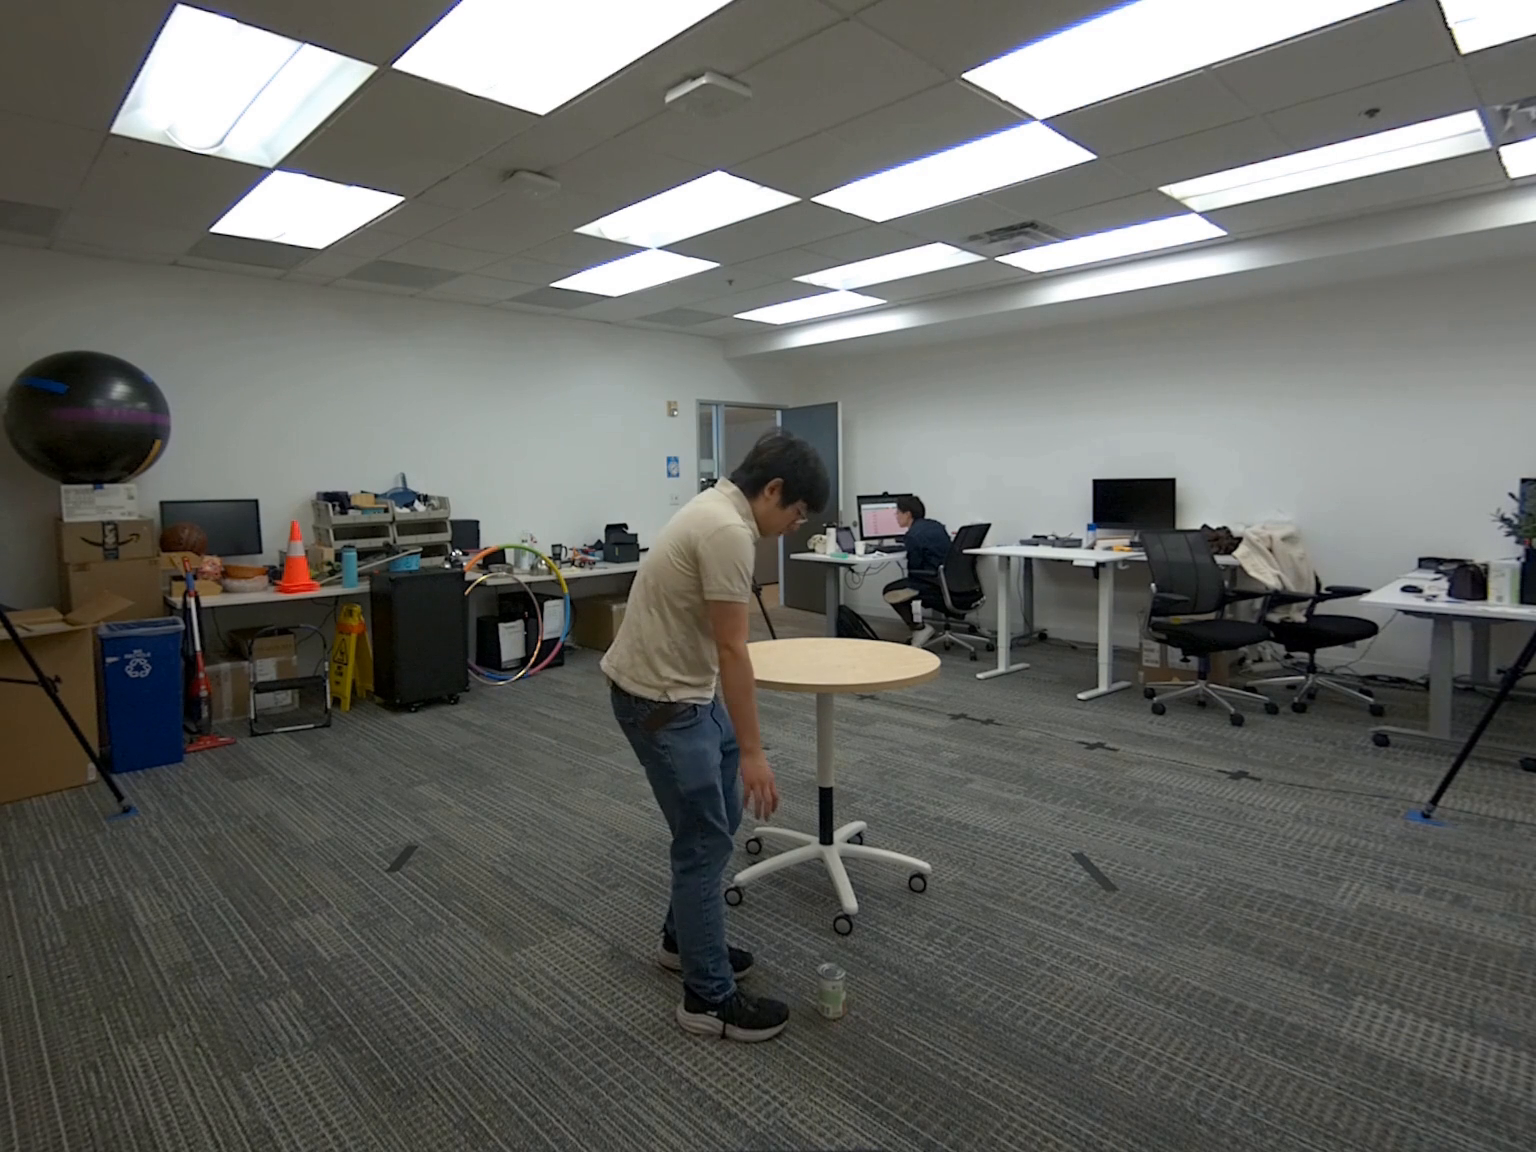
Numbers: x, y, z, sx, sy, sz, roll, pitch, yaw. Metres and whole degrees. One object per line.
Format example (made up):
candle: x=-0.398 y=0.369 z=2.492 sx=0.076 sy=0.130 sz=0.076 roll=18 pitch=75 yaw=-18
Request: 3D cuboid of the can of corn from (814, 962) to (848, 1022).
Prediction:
can of corn: x=0.170 y=1.086 z=2.230 sx=0.074 sy=0.110 sz=0.074 roll=-2 pitch=6 yaw=-1
